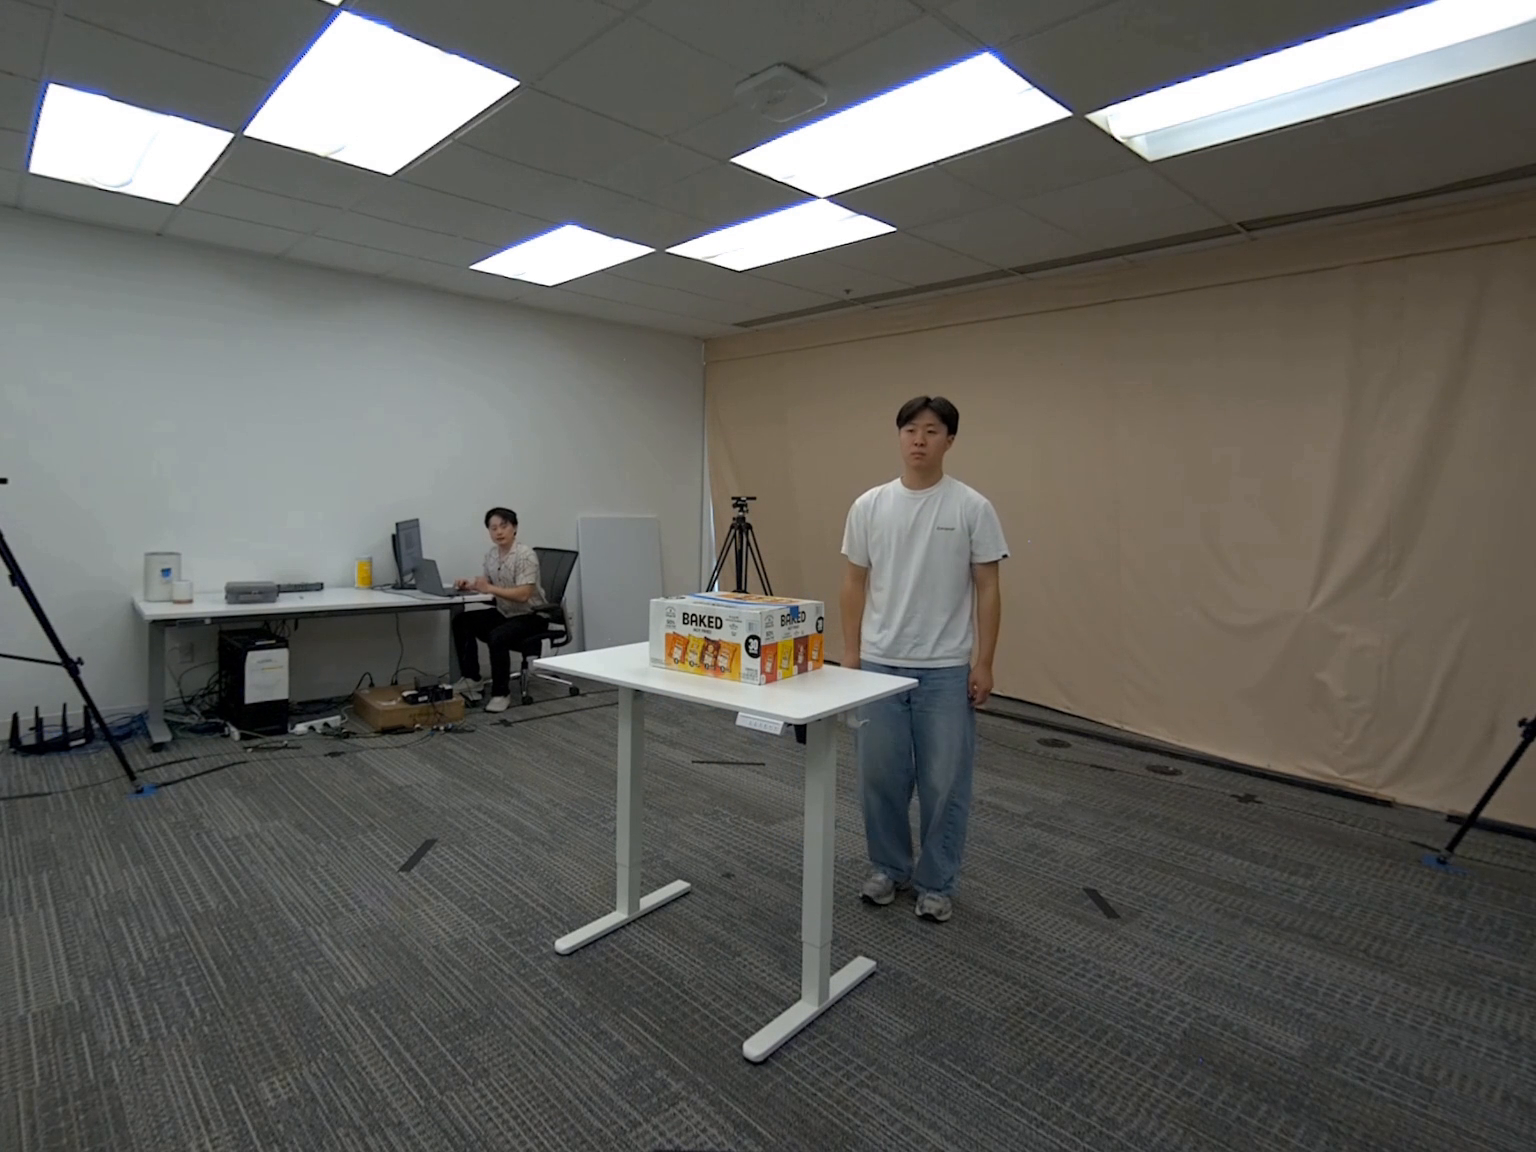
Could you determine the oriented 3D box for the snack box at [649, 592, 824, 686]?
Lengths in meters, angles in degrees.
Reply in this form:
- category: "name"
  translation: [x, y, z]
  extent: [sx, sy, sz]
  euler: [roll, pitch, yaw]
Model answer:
- category: "snack box"
  translation: [-0.098, 0.177, 2.537]
  extent: [0.415, 0.205, 0.333]
  euler: [4, 5, 35]
